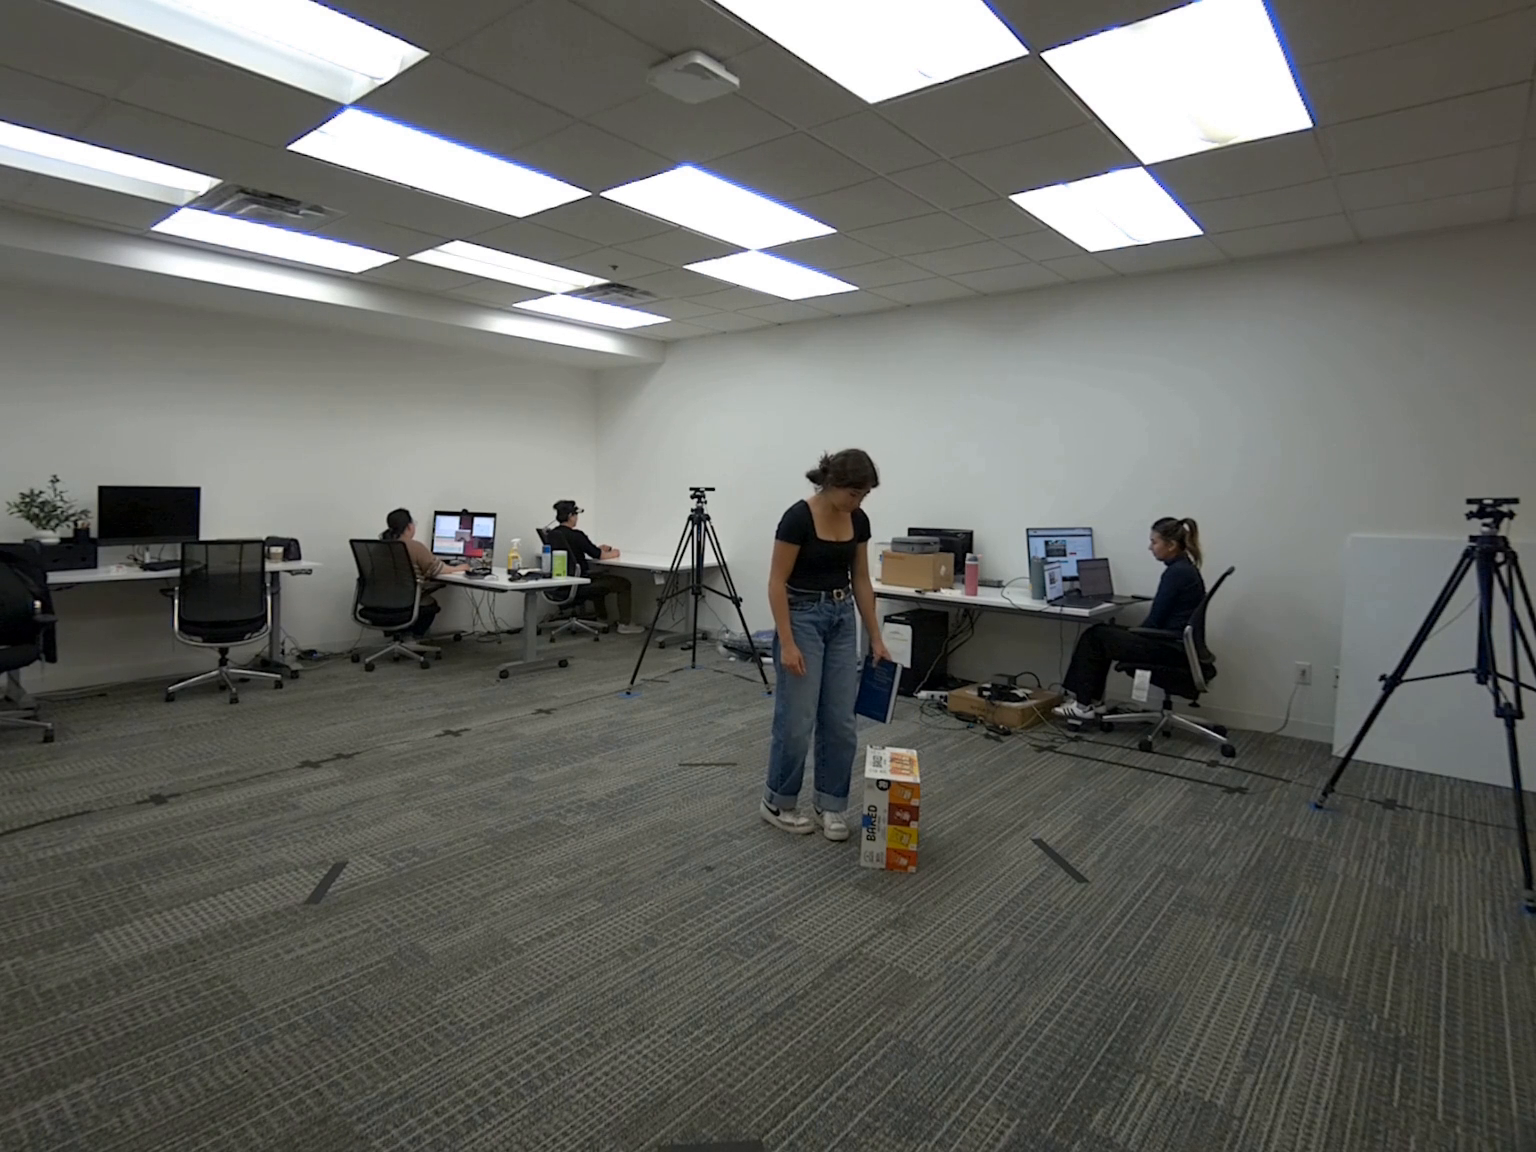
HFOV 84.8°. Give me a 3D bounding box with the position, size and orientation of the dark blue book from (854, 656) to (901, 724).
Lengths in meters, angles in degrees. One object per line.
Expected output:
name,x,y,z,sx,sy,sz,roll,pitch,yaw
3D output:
dark blue book,0.438,0.459,3.458,0.169,0.245,0.043,12,0,44
